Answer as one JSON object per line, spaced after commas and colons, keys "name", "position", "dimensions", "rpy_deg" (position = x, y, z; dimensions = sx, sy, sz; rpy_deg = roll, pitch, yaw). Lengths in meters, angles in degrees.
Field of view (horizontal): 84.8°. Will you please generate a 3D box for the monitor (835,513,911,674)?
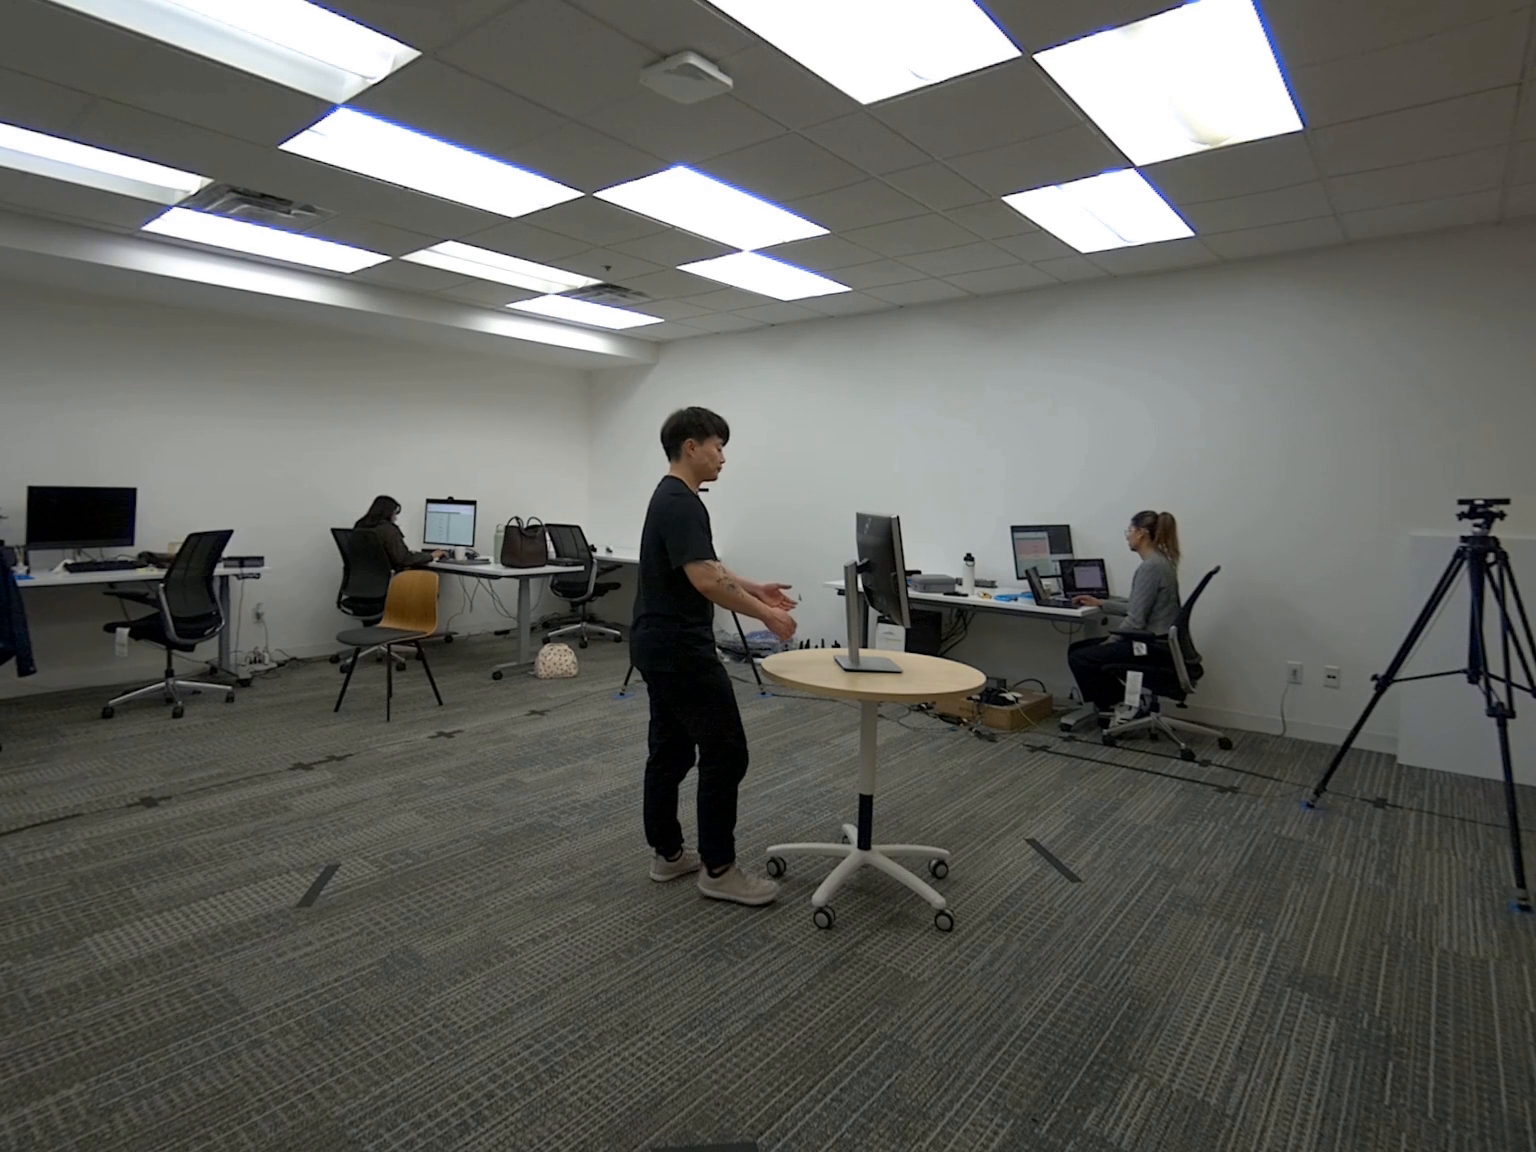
{"name": "monitor", "position": [0.351, 0.055, 2.987], "dimensions": [0.186, 0.521, 0.544], "rpy_deg": [3, 4, -7]}
